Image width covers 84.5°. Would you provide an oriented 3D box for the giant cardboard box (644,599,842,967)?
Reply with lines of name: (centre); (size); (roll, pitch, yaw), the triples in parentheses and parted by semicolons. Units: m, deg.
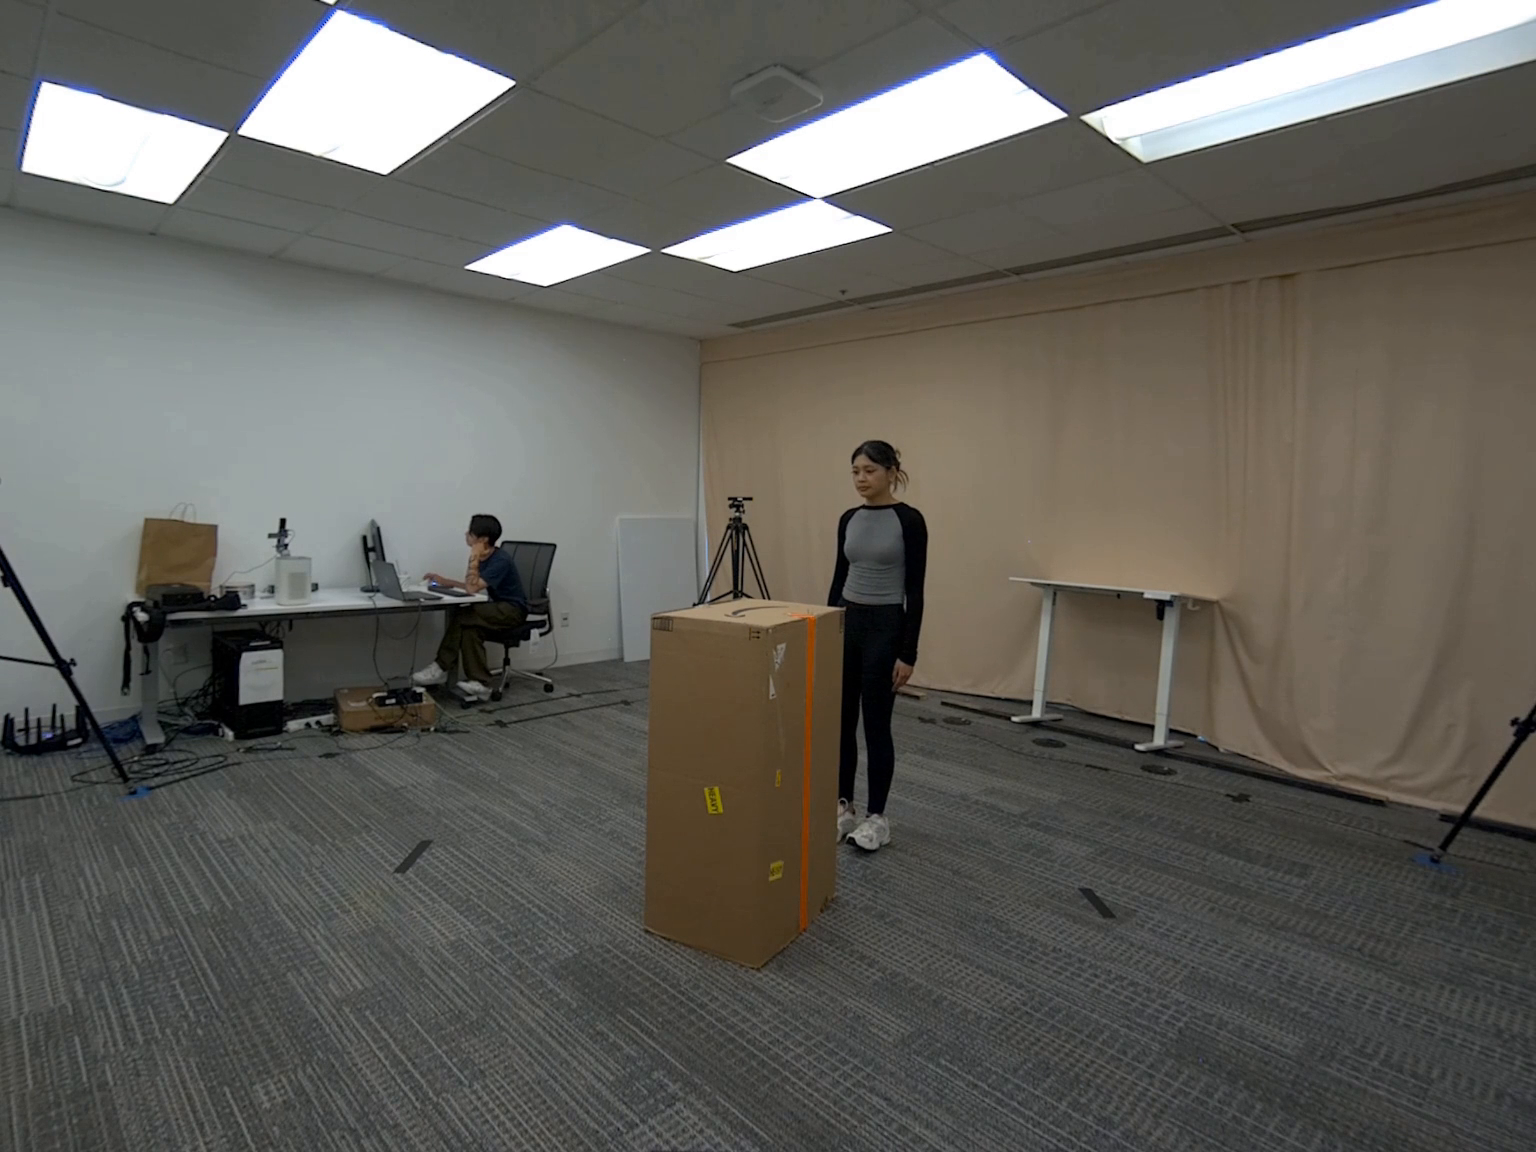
giant cardboard box: (-0.067, 0.630, 2.806); (0.456, 1.025, 0.573); (2, 3, 29)
